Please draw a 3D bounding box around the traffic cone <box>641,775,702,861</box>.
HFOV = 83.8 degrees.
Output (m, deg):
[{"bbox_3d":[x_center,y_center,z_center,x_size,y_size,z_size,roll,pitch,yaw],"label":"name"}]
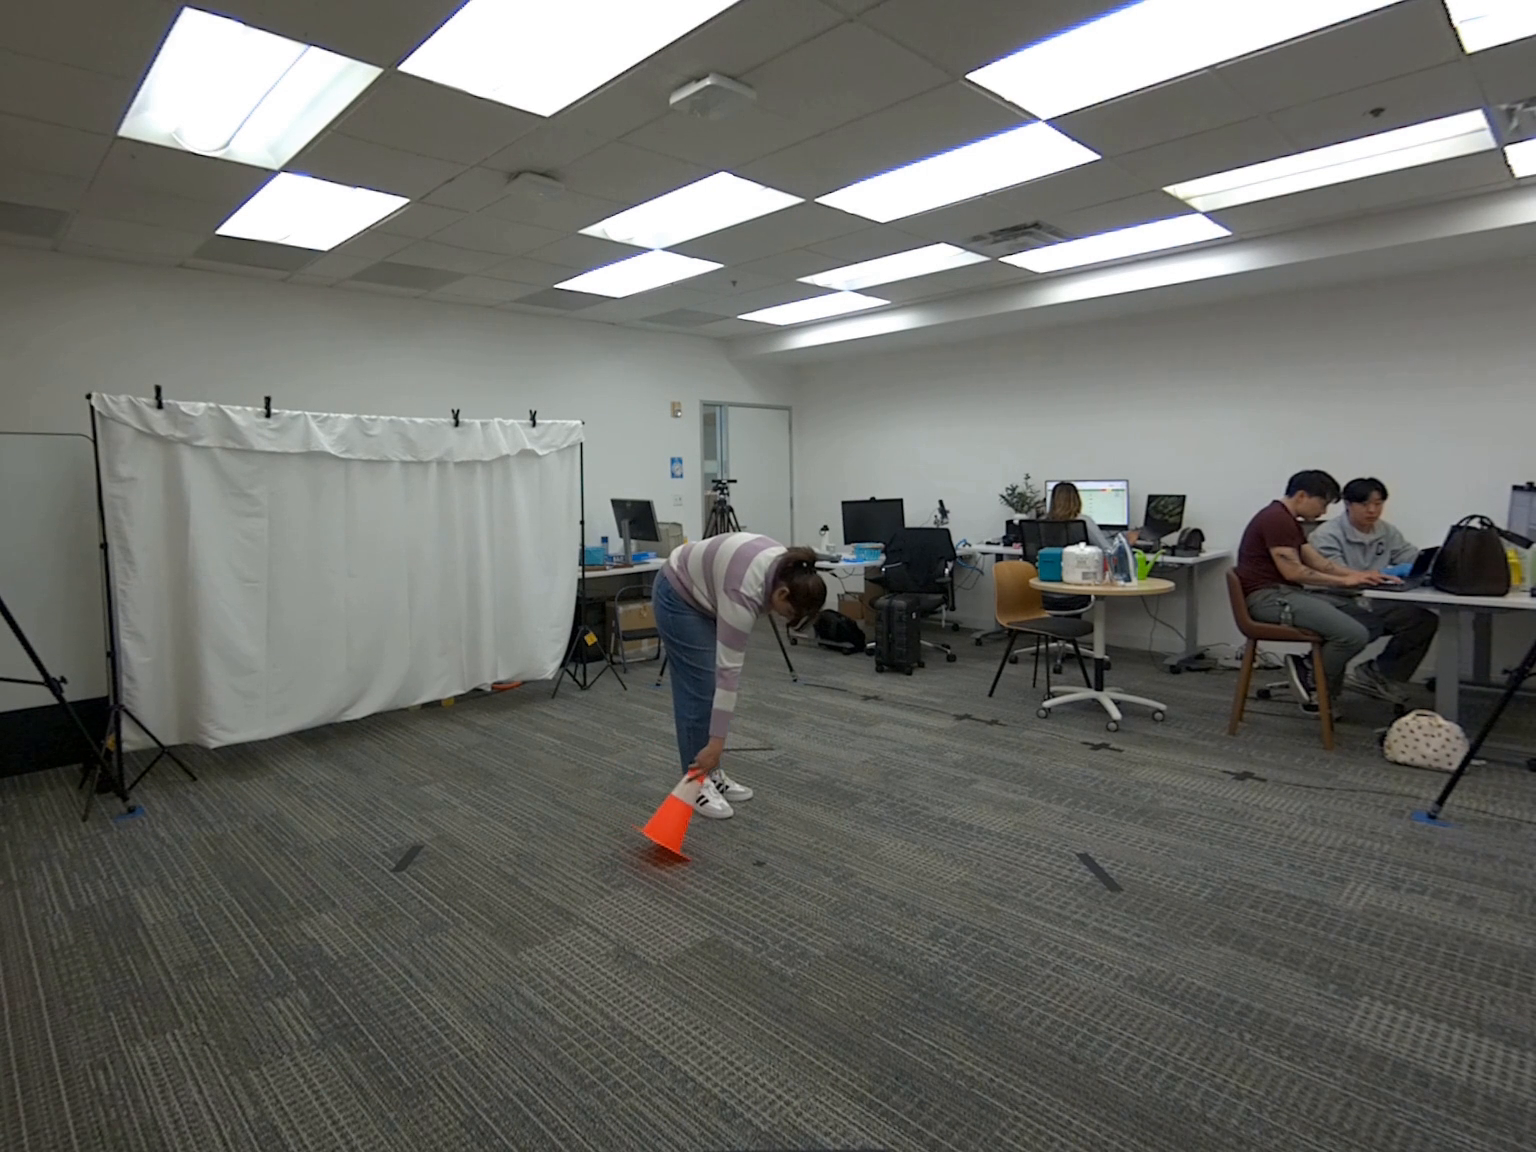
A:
[{"bbox_3d":[-0.322,0.829,3.226,0.198,0.385,0.209,38,-18,-32],"label":"traffic cone"}]
